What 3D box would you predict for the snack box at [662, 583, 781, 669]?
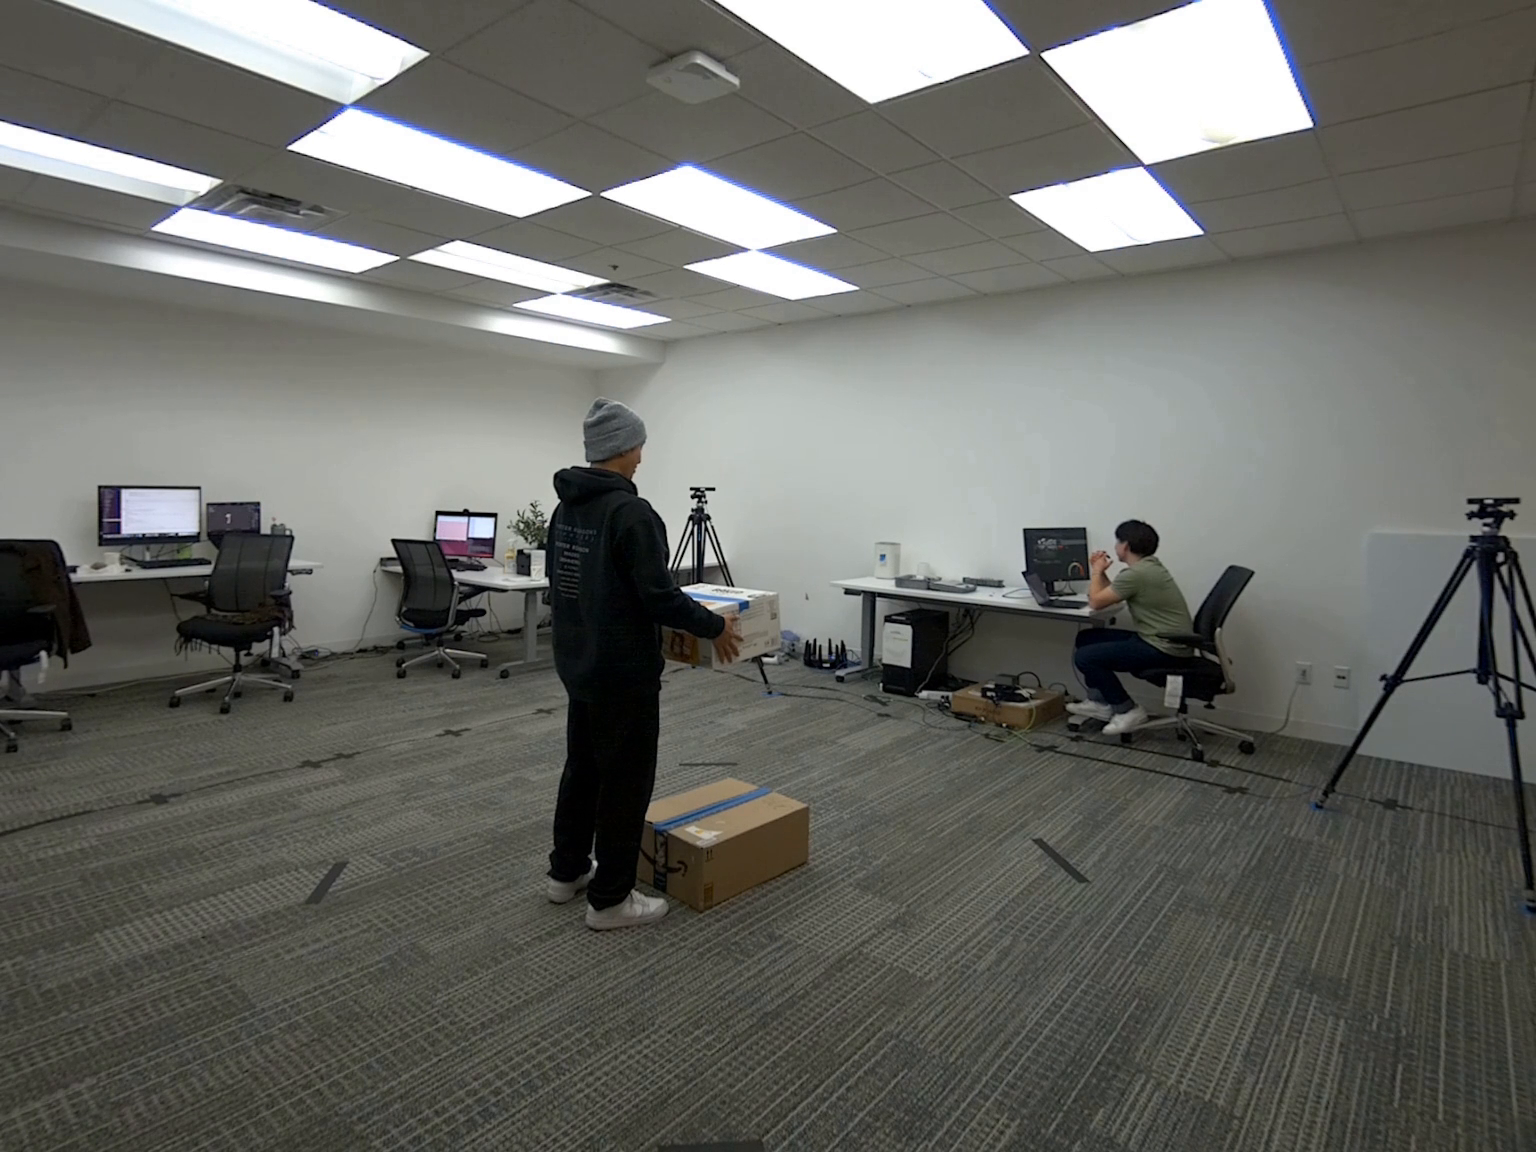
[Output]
[{"bbox_3d":[-0.230,0.167,3.037,0.419,0.204,0.332,6,13,44],"label":"snack box"}]
